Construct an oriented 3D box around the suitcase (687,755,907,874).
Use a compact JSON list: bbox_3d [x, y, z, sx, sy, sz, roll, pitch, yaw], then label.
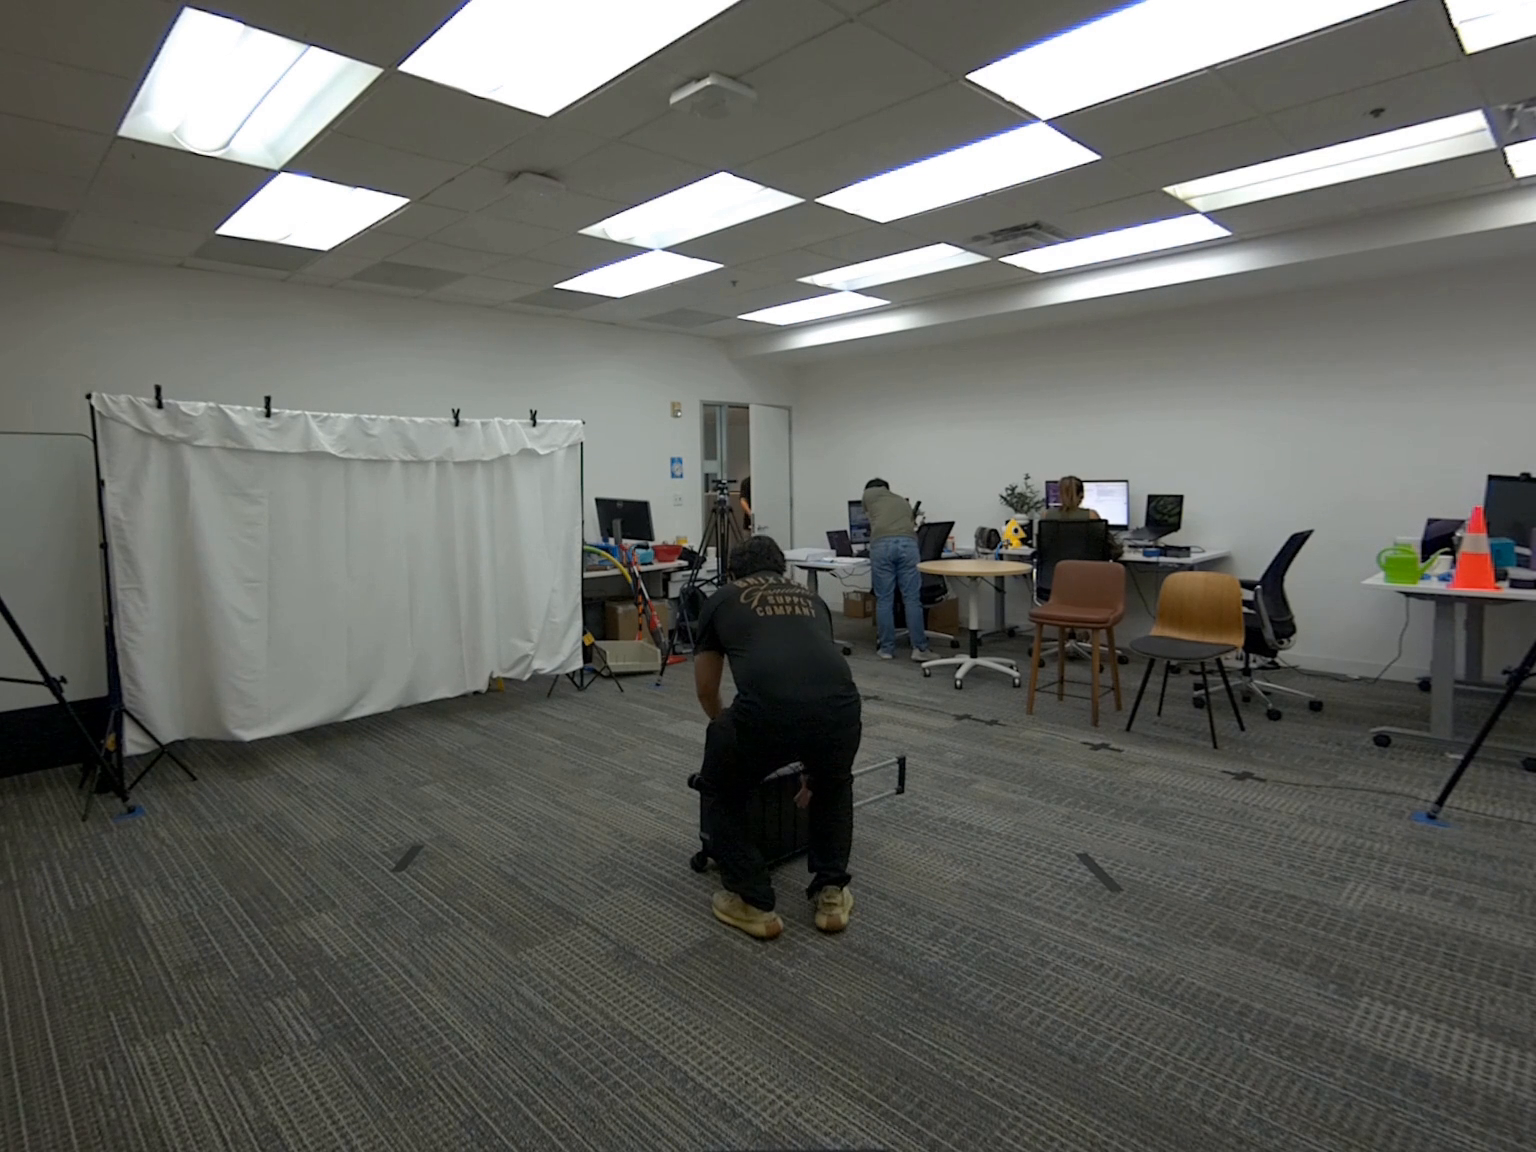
[{"bbox_3d":[0.138,0.837,3.299,0.953,0.382,0.265,-6,7,-44],"label":"suitcase"}]
